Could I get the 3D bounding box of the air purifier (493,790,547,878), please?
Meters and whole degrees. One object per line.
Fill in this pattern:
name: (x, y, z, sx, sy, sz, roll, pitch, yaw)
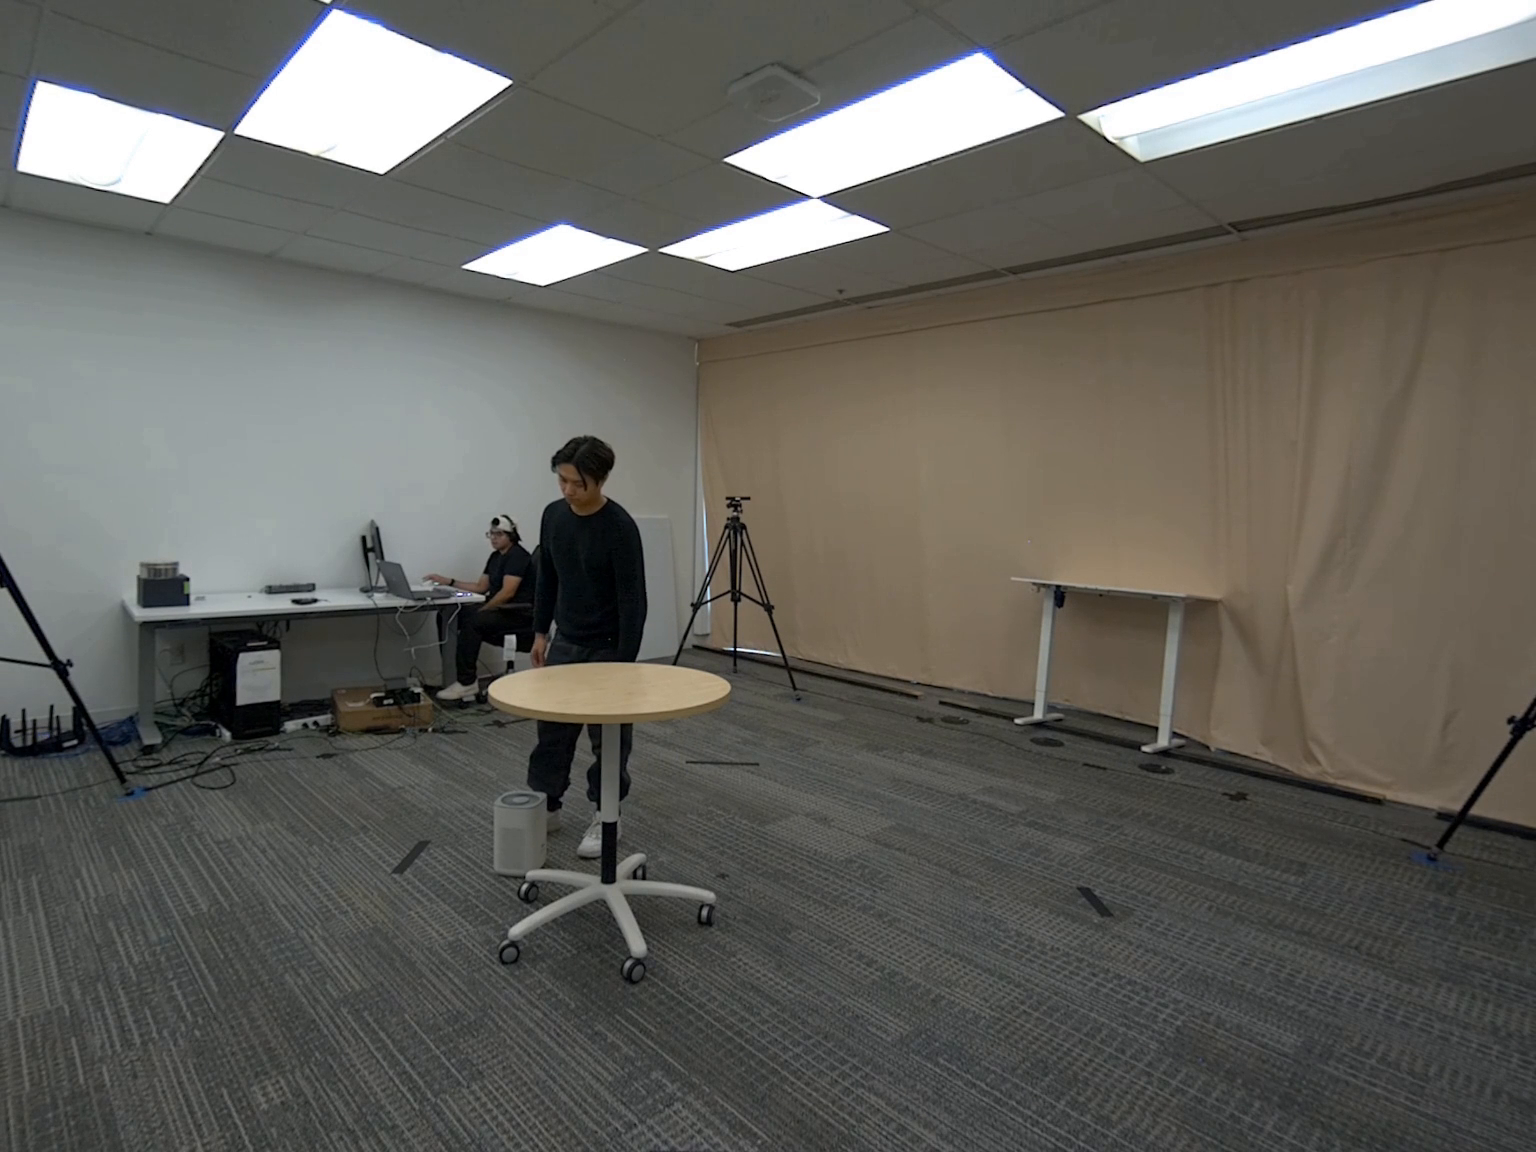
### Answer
air purifier: (-0.930, 0.960, 3.115, 0.172, 0.264, 0.171, 2, 5, 6)
